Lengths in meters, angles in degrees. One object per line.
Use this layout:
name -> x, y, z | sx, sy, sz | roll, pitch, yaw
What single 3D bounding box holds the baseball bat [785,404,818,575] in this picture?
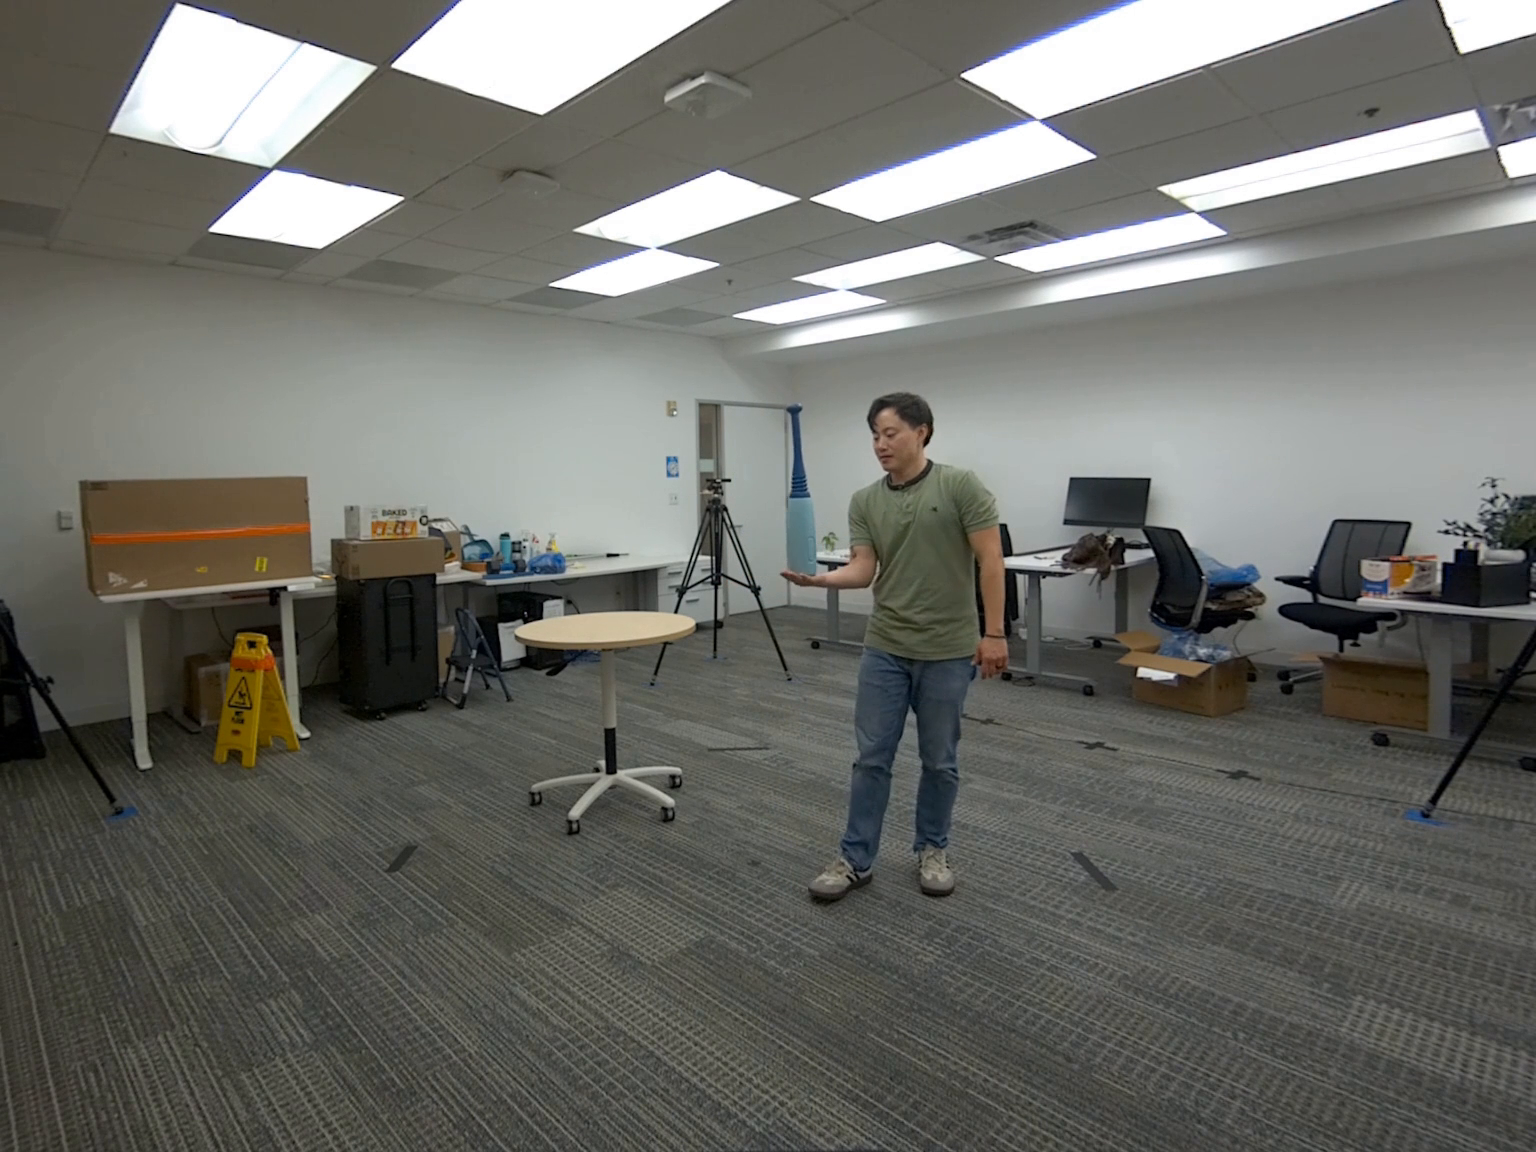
baseball bat -> 0.085, -0.270, 2.690 | 0.089, 0.540, 0.089 | -2, 5, -1
